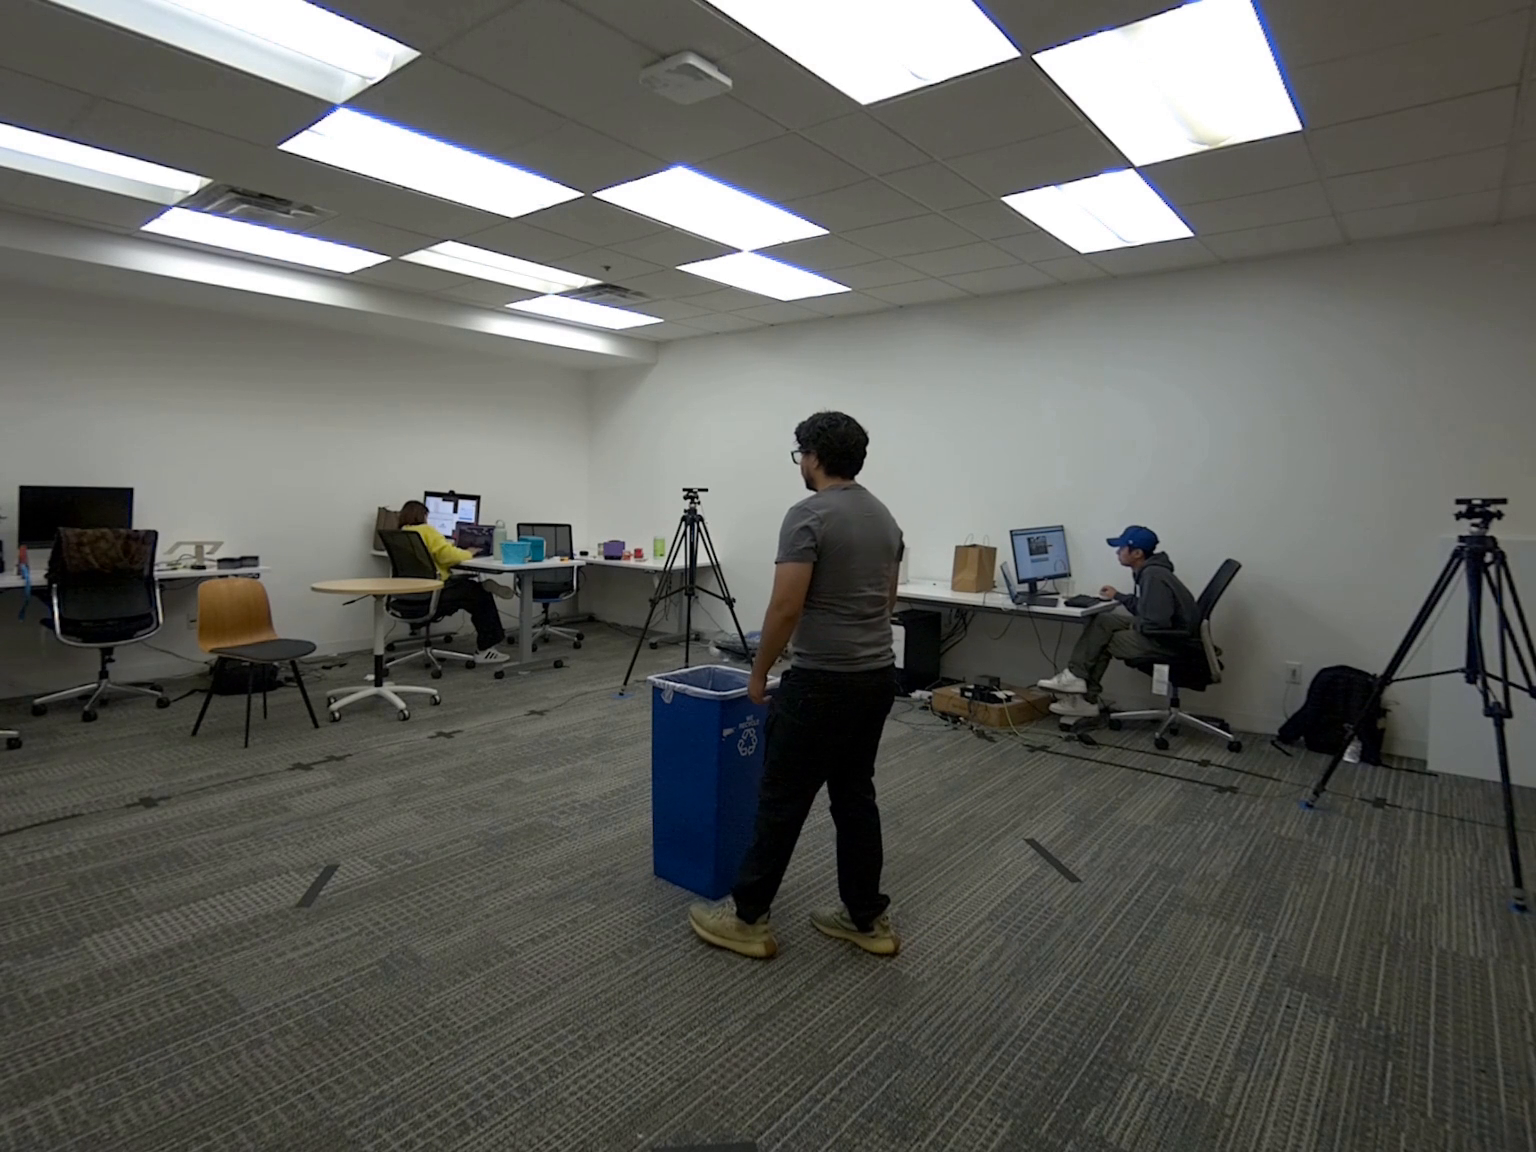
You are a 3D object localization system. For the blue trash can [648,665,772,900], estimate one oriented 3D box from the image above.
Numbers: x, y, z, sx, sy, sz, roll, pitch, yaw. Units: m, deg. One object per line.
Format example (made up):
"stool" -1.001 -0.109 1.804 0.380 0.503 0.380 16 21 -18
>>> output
"blue trash can" -0.216 0.718 3.062 0.386 0.712 0.367 5 4 38
